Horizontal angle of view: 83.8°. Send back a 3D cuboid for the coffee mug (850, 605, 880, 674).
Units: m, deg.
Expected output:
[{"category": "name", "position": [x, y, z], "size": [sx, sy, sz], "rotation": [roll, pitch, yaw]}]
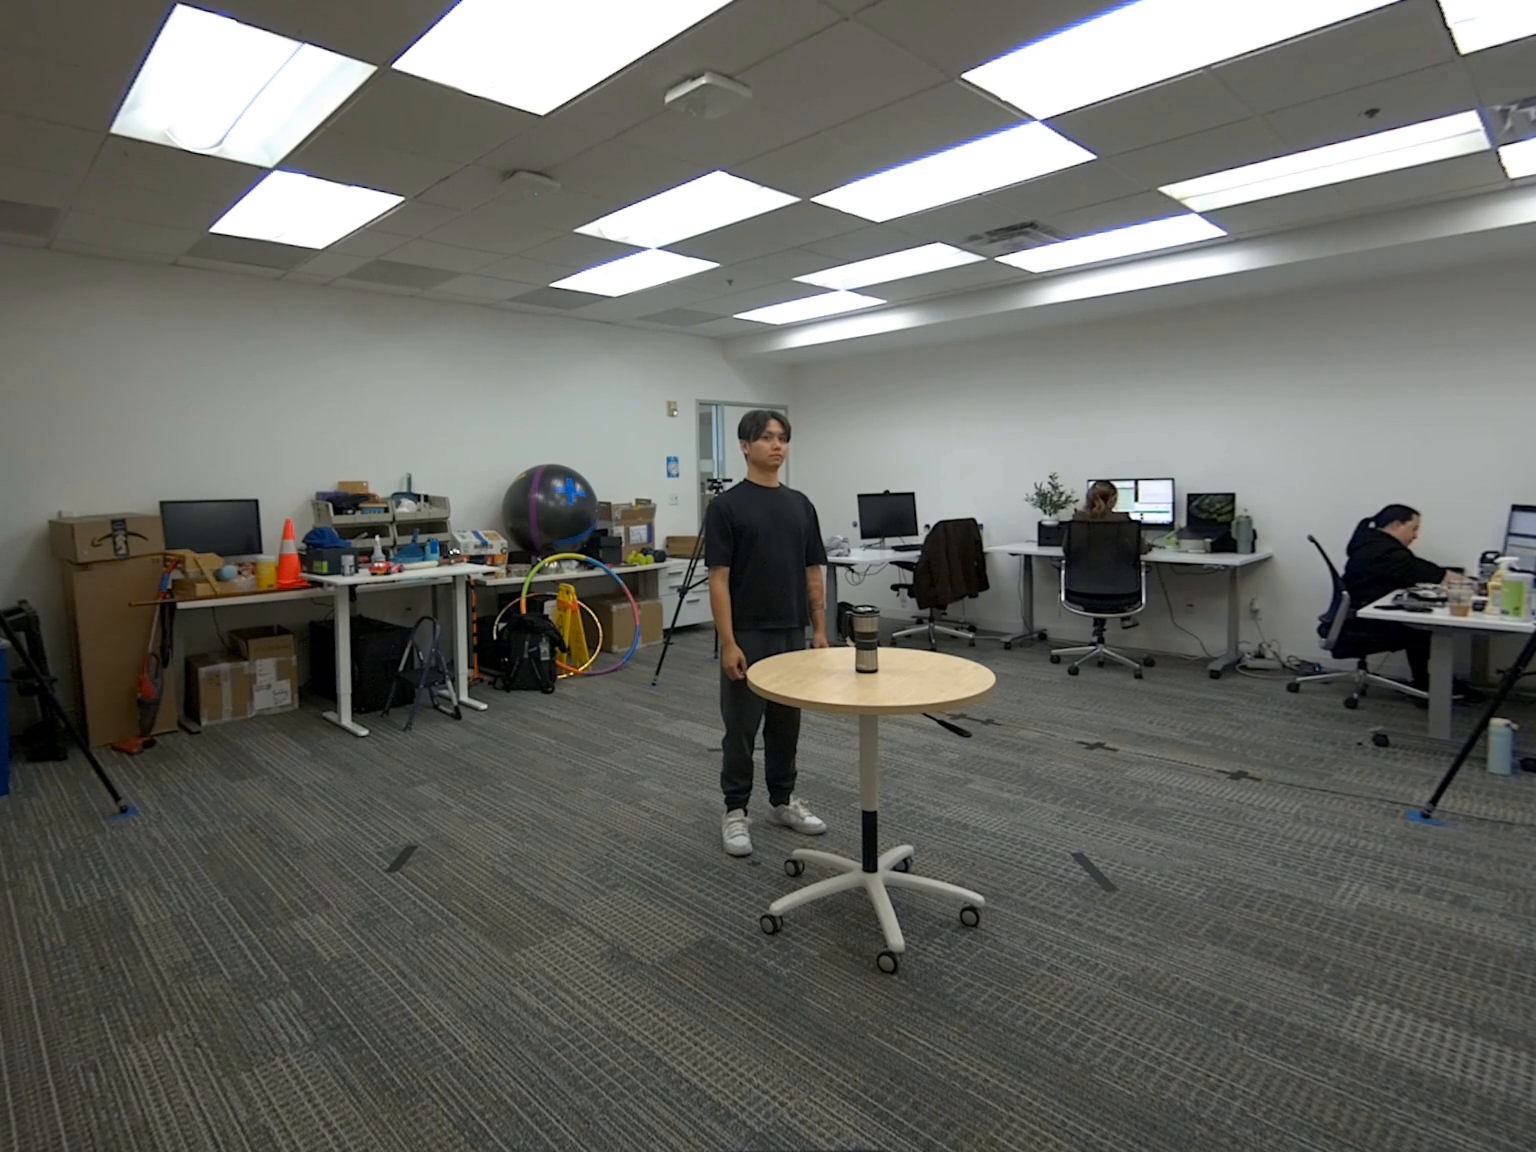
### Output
[{"category": "coffee mug", "position": [0.296, 0.202, 2.718], "size": [0.086, 0.201, 0.126], "rotation": [-9, 11, -33]}]
